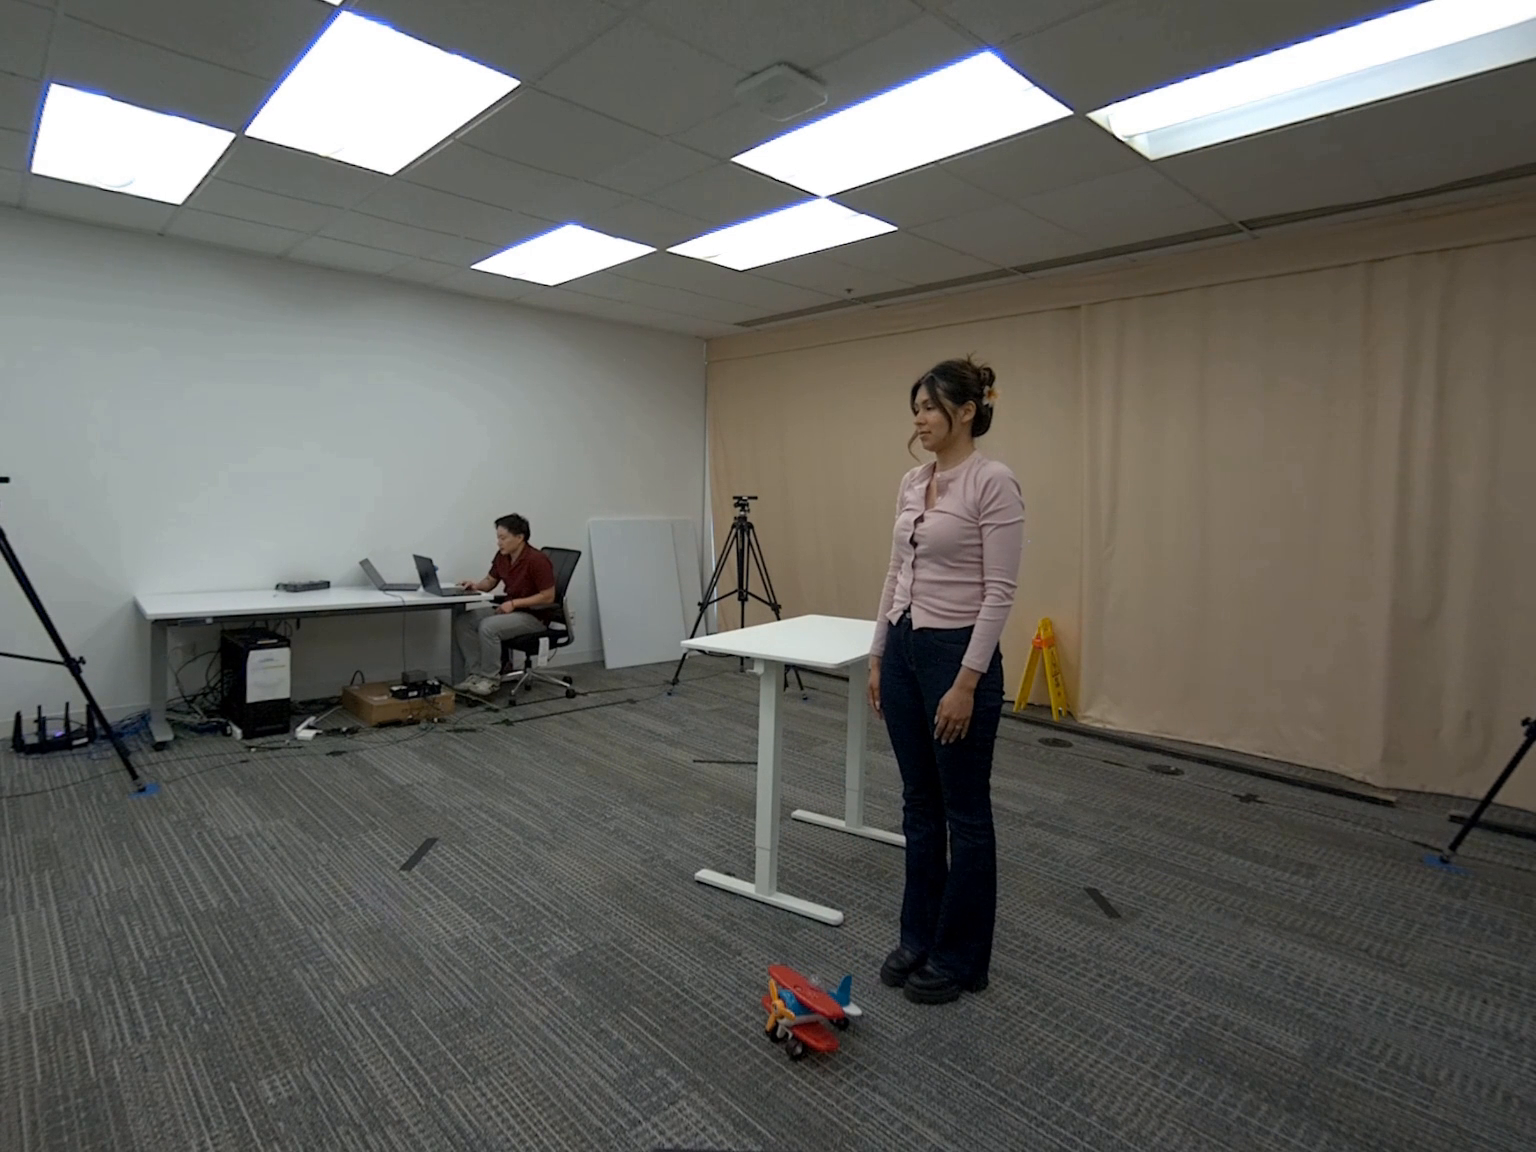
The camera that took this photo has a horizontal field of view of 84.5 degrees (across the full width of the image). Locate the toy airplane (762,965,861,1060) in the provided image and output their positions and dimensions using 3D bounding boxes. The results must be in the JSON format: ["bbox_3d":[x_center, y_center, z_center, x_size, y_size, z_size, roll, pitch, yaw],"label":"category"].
[{"bbox_3d":[0.087,1.125,2.179,0.256,0.156,0.255,4,6,25],"label":"toy airplane"}]
